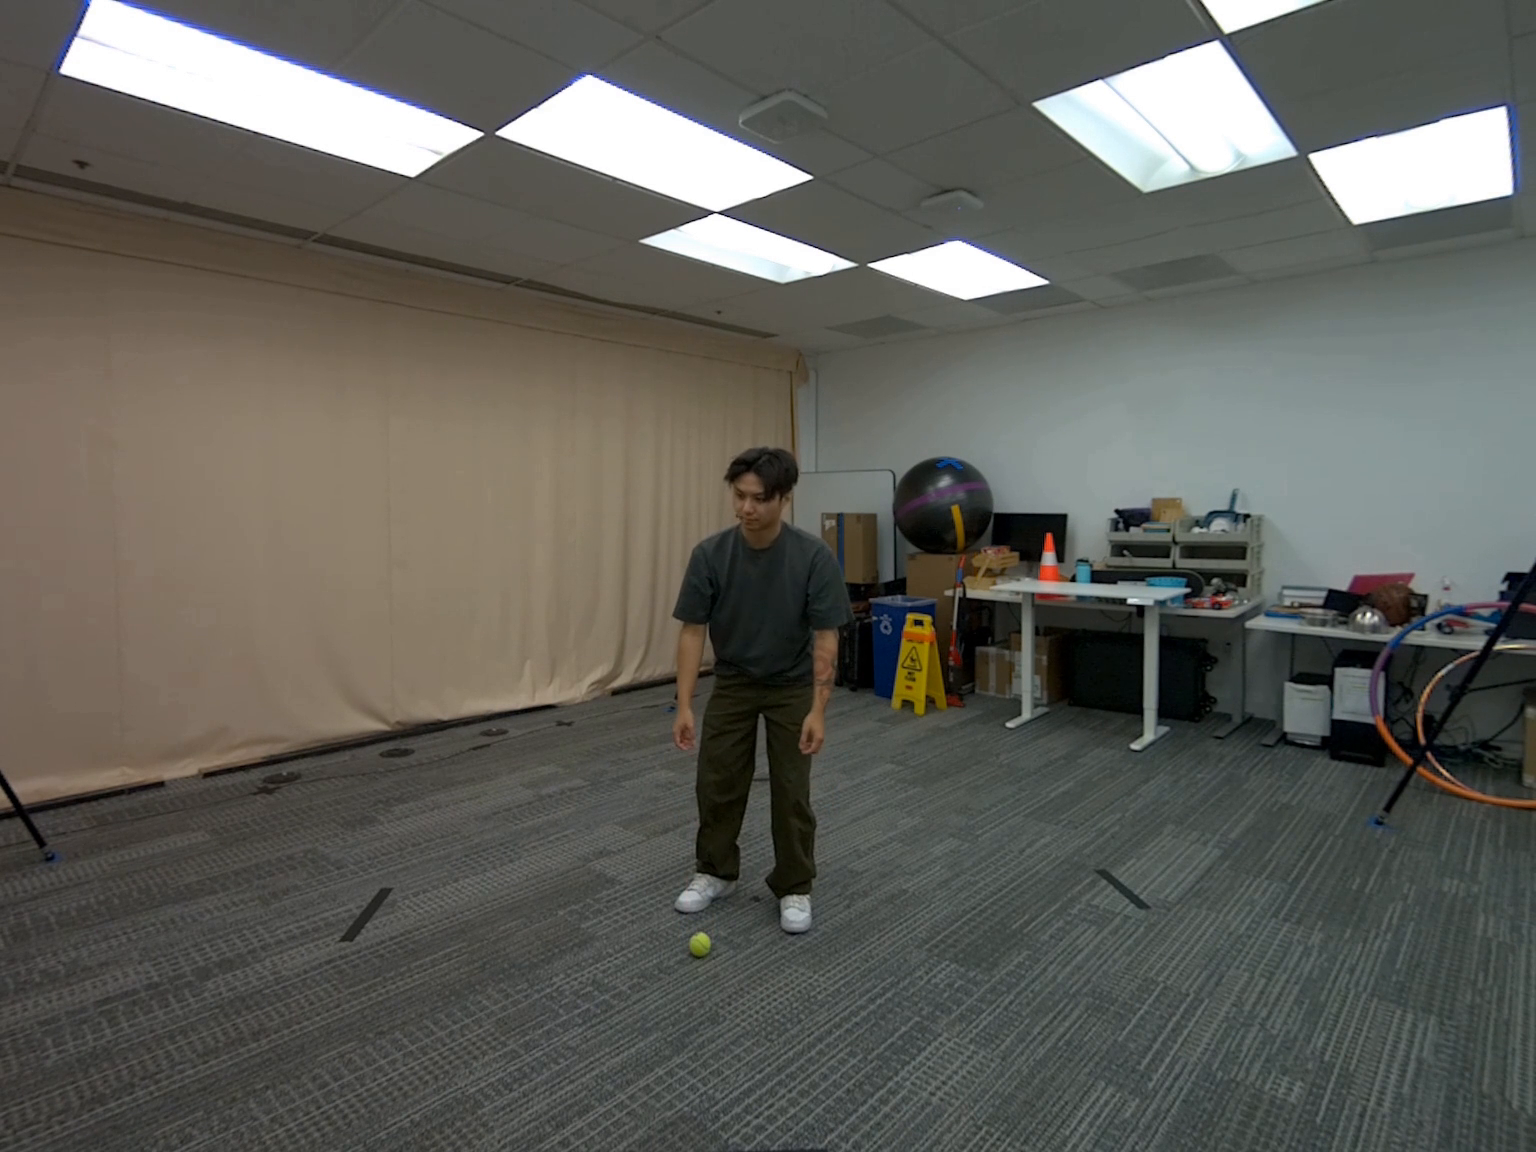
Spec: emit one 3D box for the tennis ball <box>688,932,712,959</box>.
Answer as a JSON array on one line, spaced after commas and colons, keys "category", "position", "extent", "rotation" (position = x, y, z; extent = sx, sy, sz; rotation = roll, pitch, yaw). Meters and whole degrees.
[{"category": "tennis ball", "position": [-0.211, 1.130, 2.604], "extent": [0.066, 0.066, 0.067], "rotation": [0, 4, -2]}]
